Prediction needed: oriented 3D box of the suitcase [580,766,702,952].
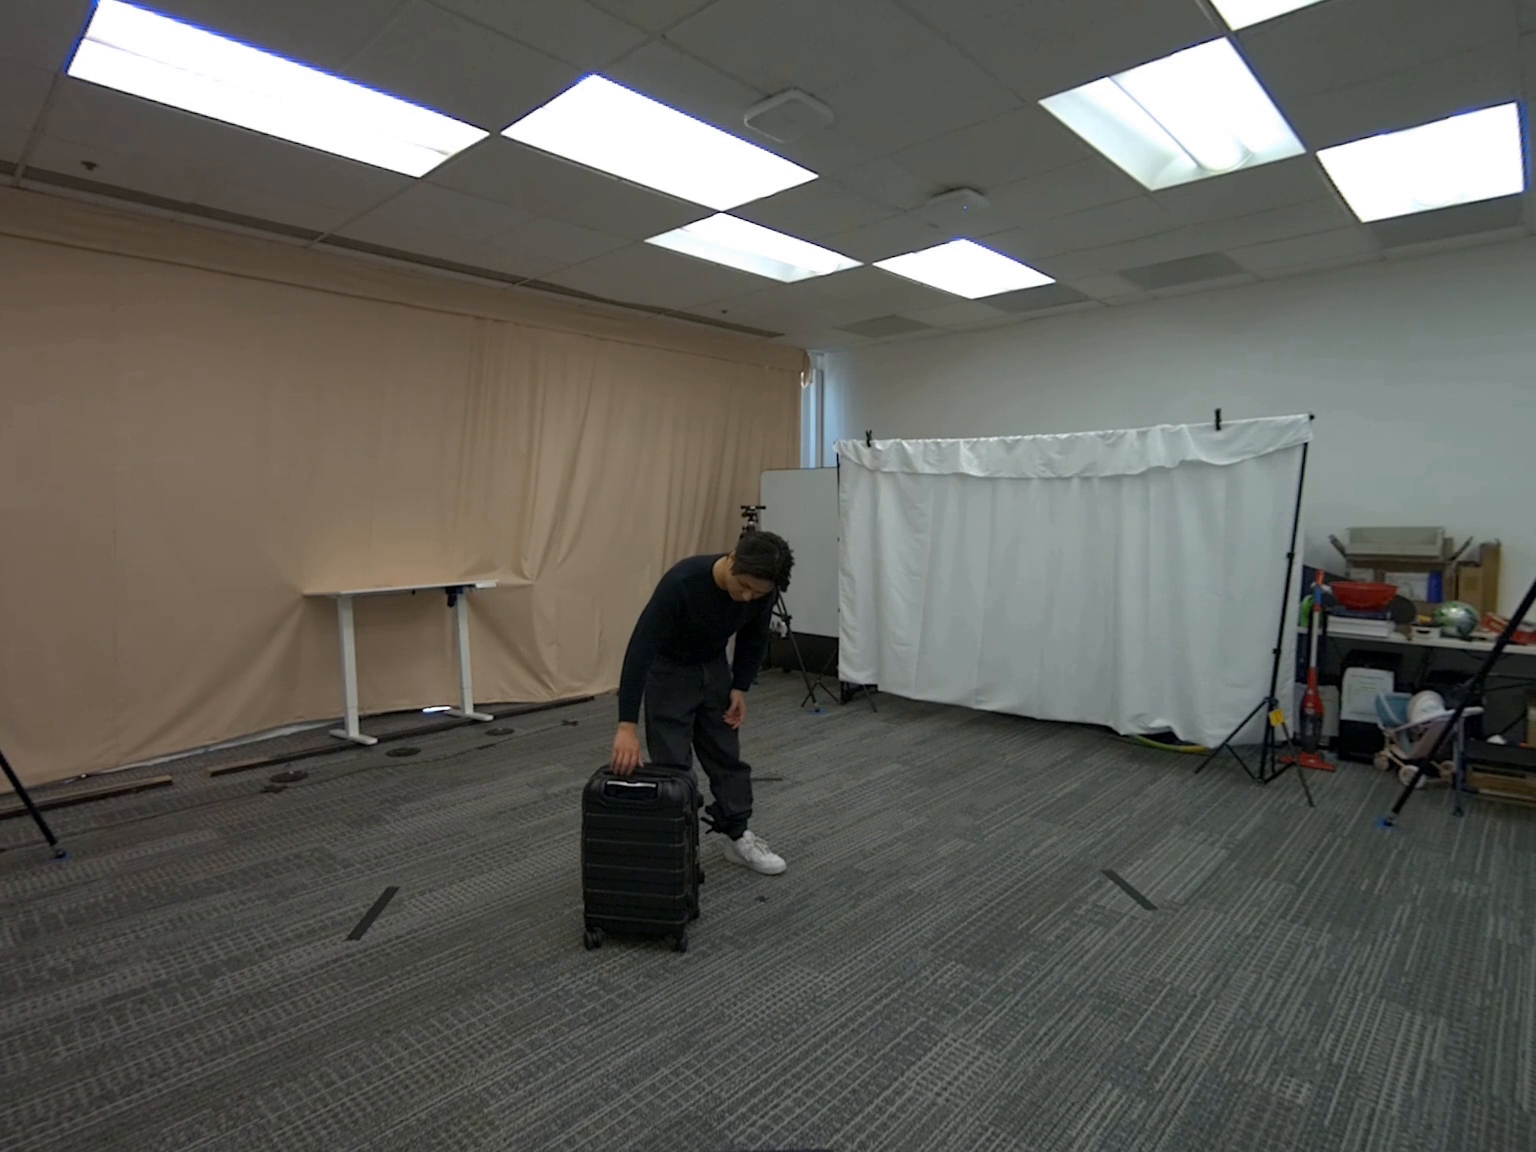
[{"bbox_3d":[-0.409,0.884,2.750,0.380,0.548,0.245,-1,3,11],"label":"suitcase"}]
